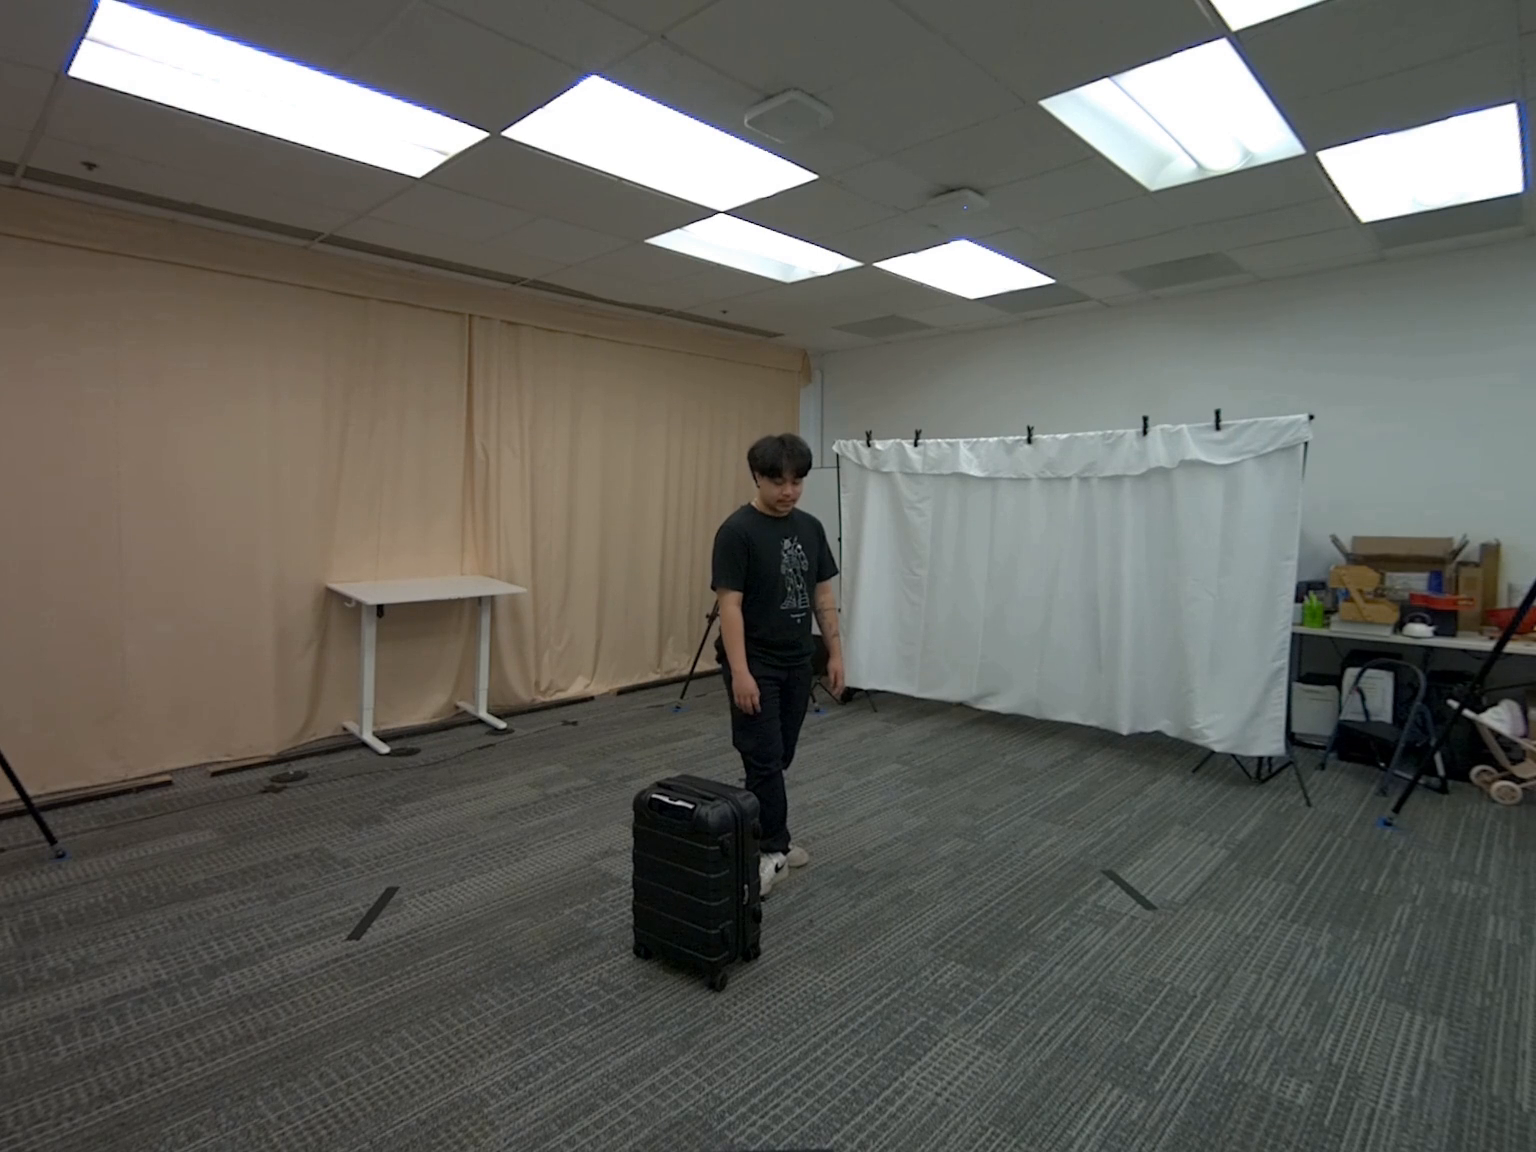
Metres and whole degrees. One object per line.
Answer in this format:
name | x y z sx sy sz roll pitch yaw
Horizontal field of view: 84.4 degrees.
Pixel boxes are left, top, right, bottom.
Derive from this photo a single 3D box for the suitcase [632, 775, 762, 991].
suitcase | -0.224 0.906 2.567 0.387 0.548 0.241 2 5 37
